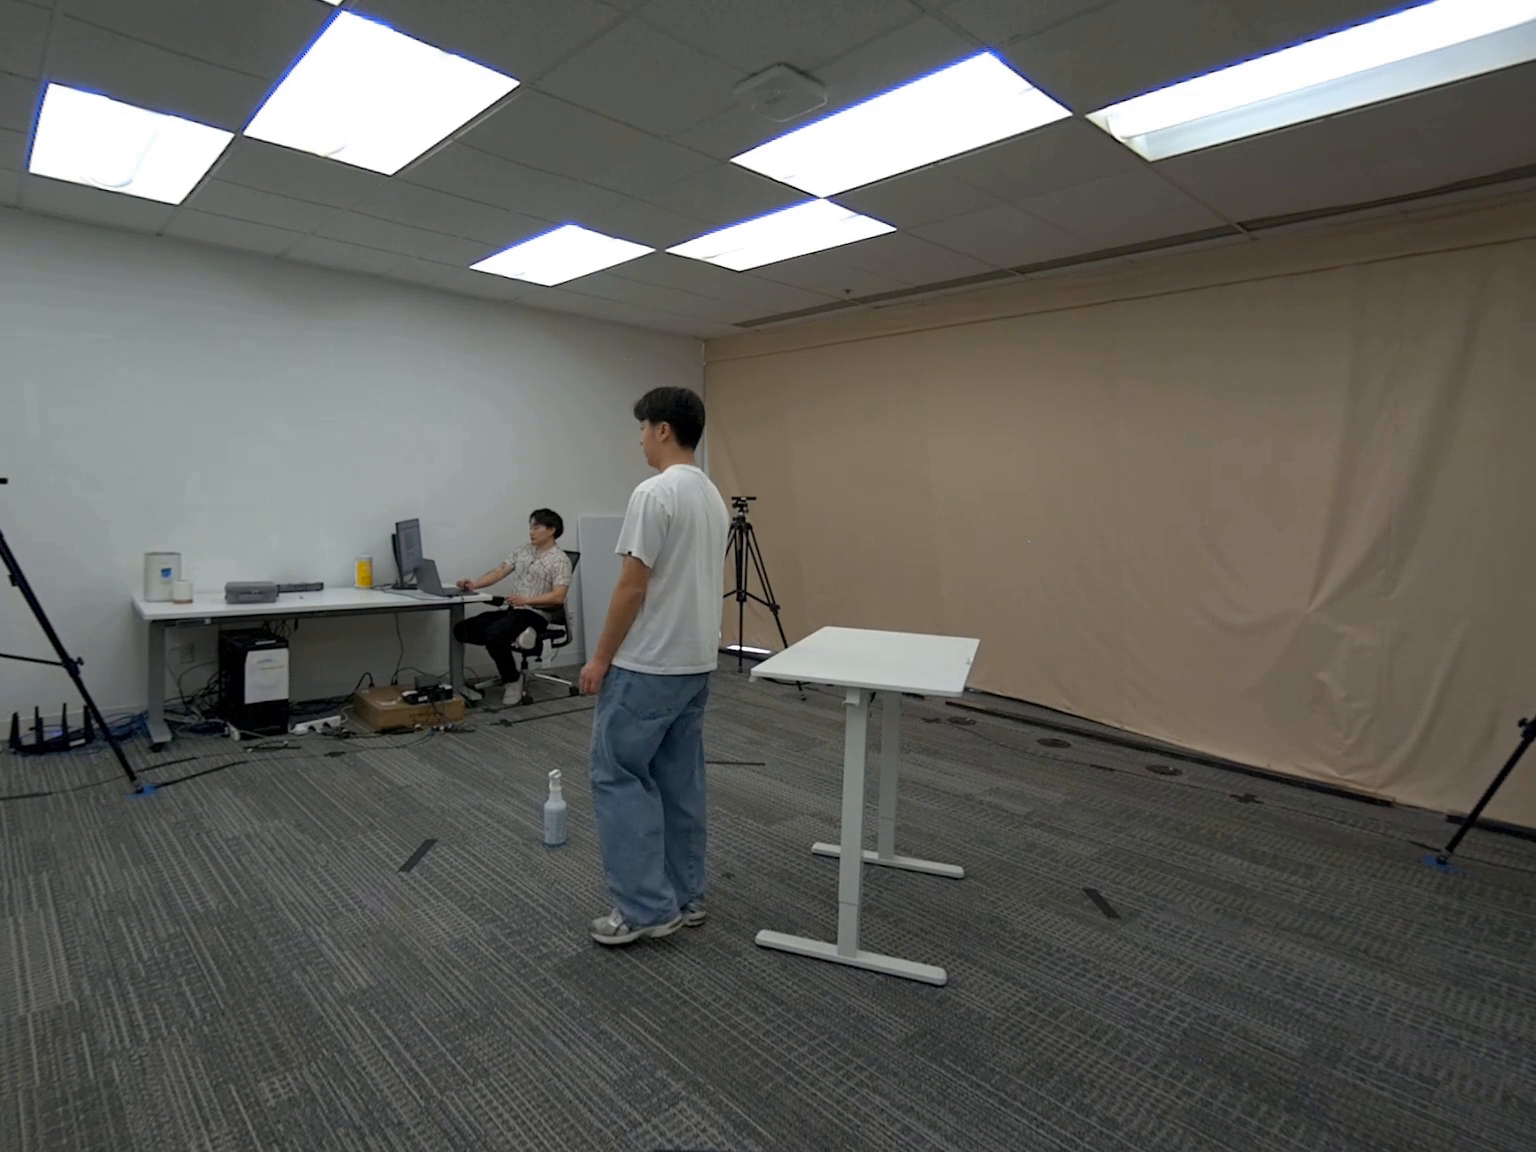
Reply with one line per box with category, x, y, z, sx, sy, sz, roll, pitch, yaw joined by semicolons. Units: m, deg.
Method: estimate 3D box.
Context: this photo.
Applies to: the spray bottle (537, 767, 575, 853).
spray bottle;-0.841;0.921;3.346;0.089;0.296;0.088;8;6;35
